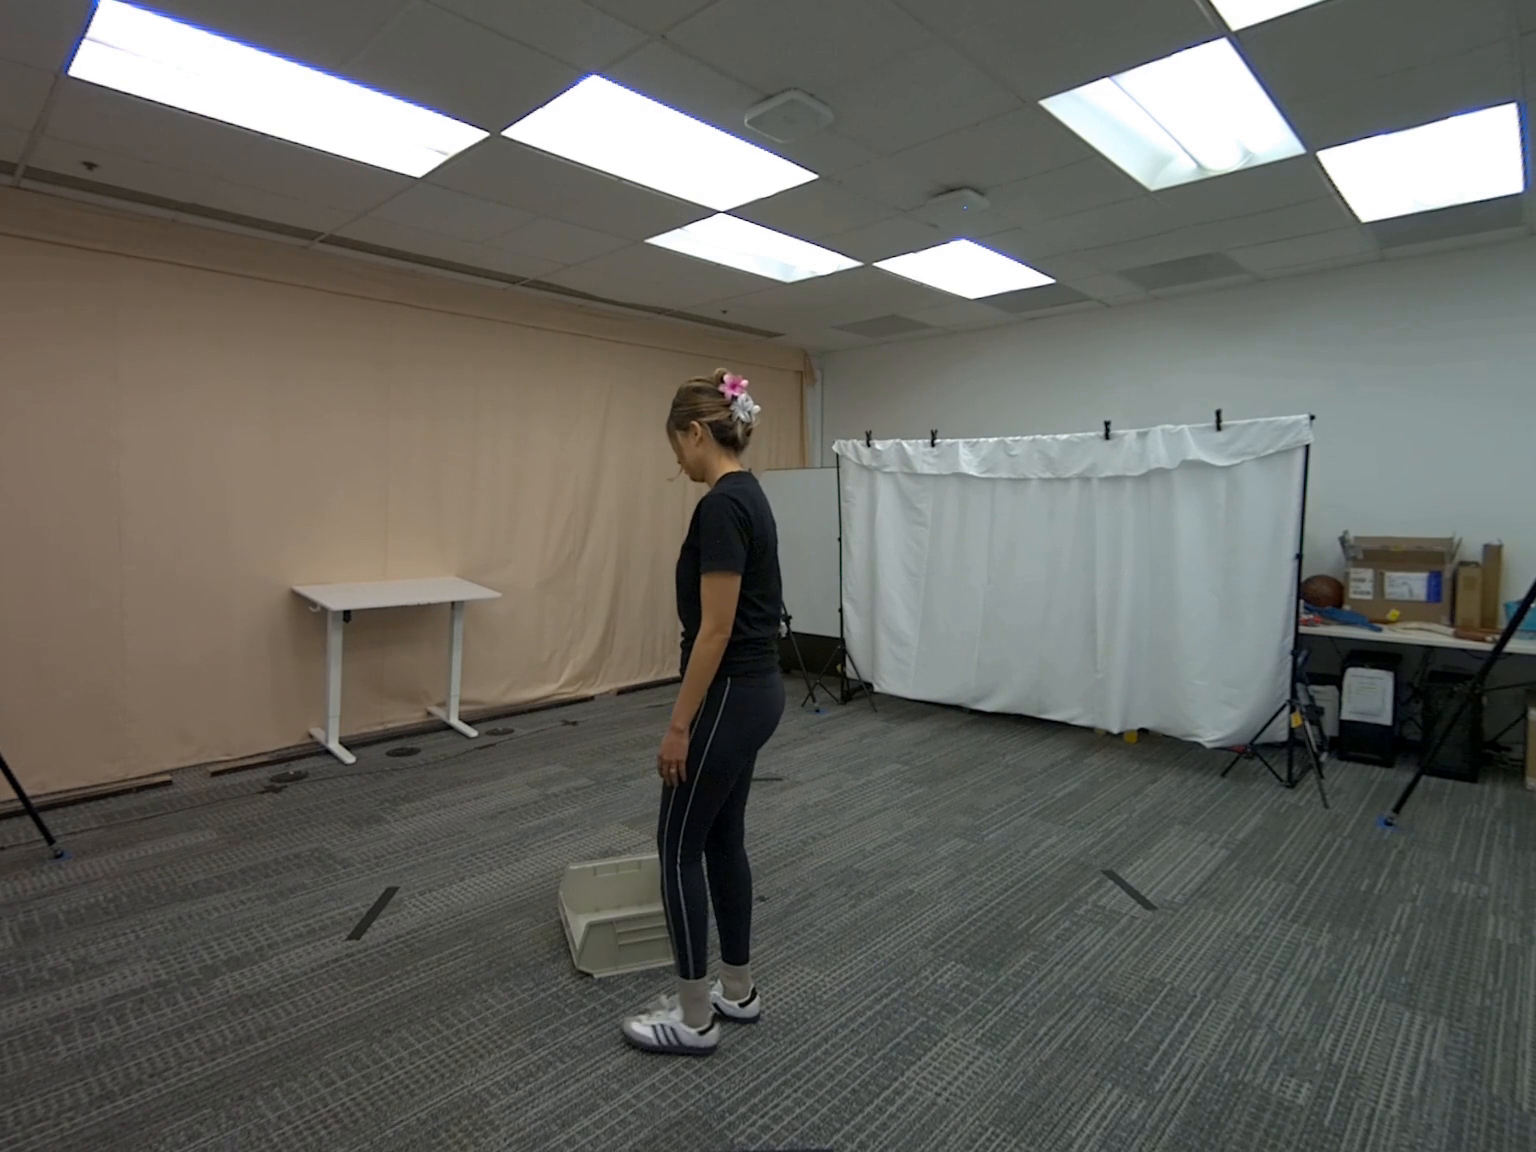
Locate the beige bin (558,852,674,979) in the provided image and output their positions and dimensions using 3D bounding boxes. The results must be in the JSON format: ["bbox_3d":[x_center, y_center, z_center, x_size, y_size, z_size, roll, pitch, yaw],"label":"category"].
[{"bbox_3d":[-0.462,1.081,2.709,0.370,0.189,0.431,-1,3,-20],"label":"beige bin"}]
